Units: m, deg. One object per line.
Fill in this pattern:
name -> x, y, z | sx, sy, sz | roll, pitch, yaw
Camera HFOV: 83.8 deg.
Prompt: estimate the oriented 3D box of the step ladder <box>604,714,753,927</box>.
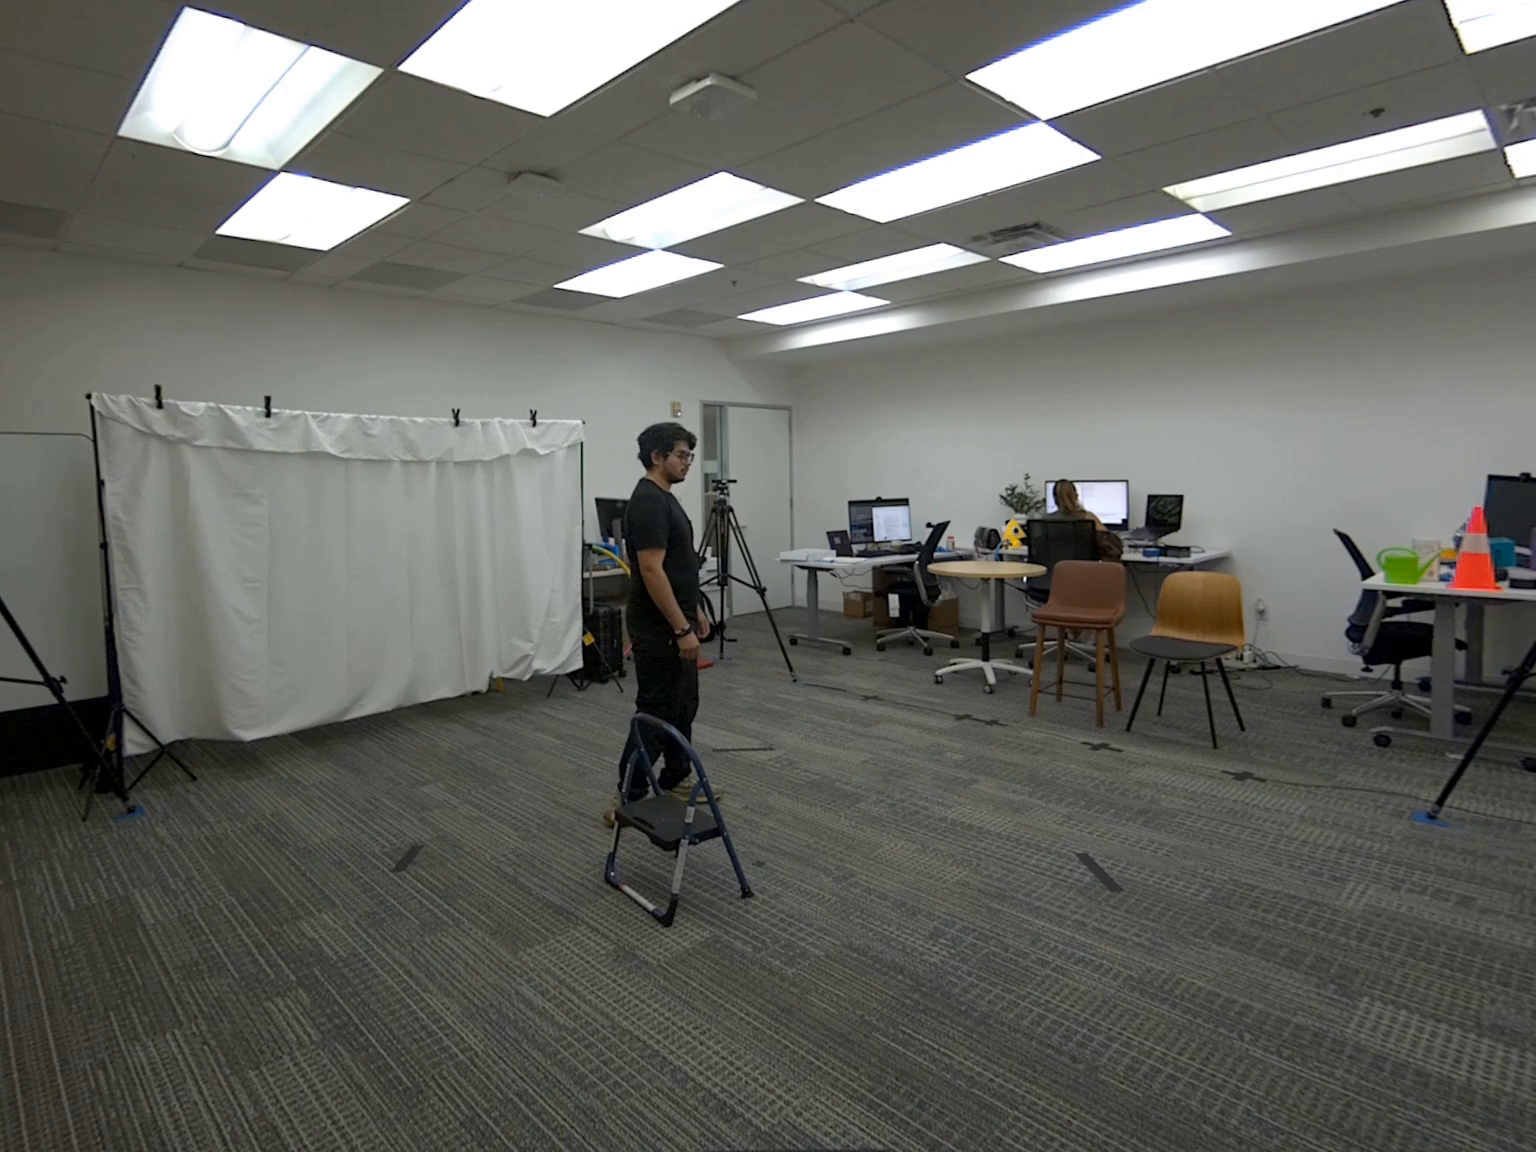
step ladder -> -0.320, 0.771, 2.921 | 0.340, 0.604, 0.443 | -4, 5, -39
